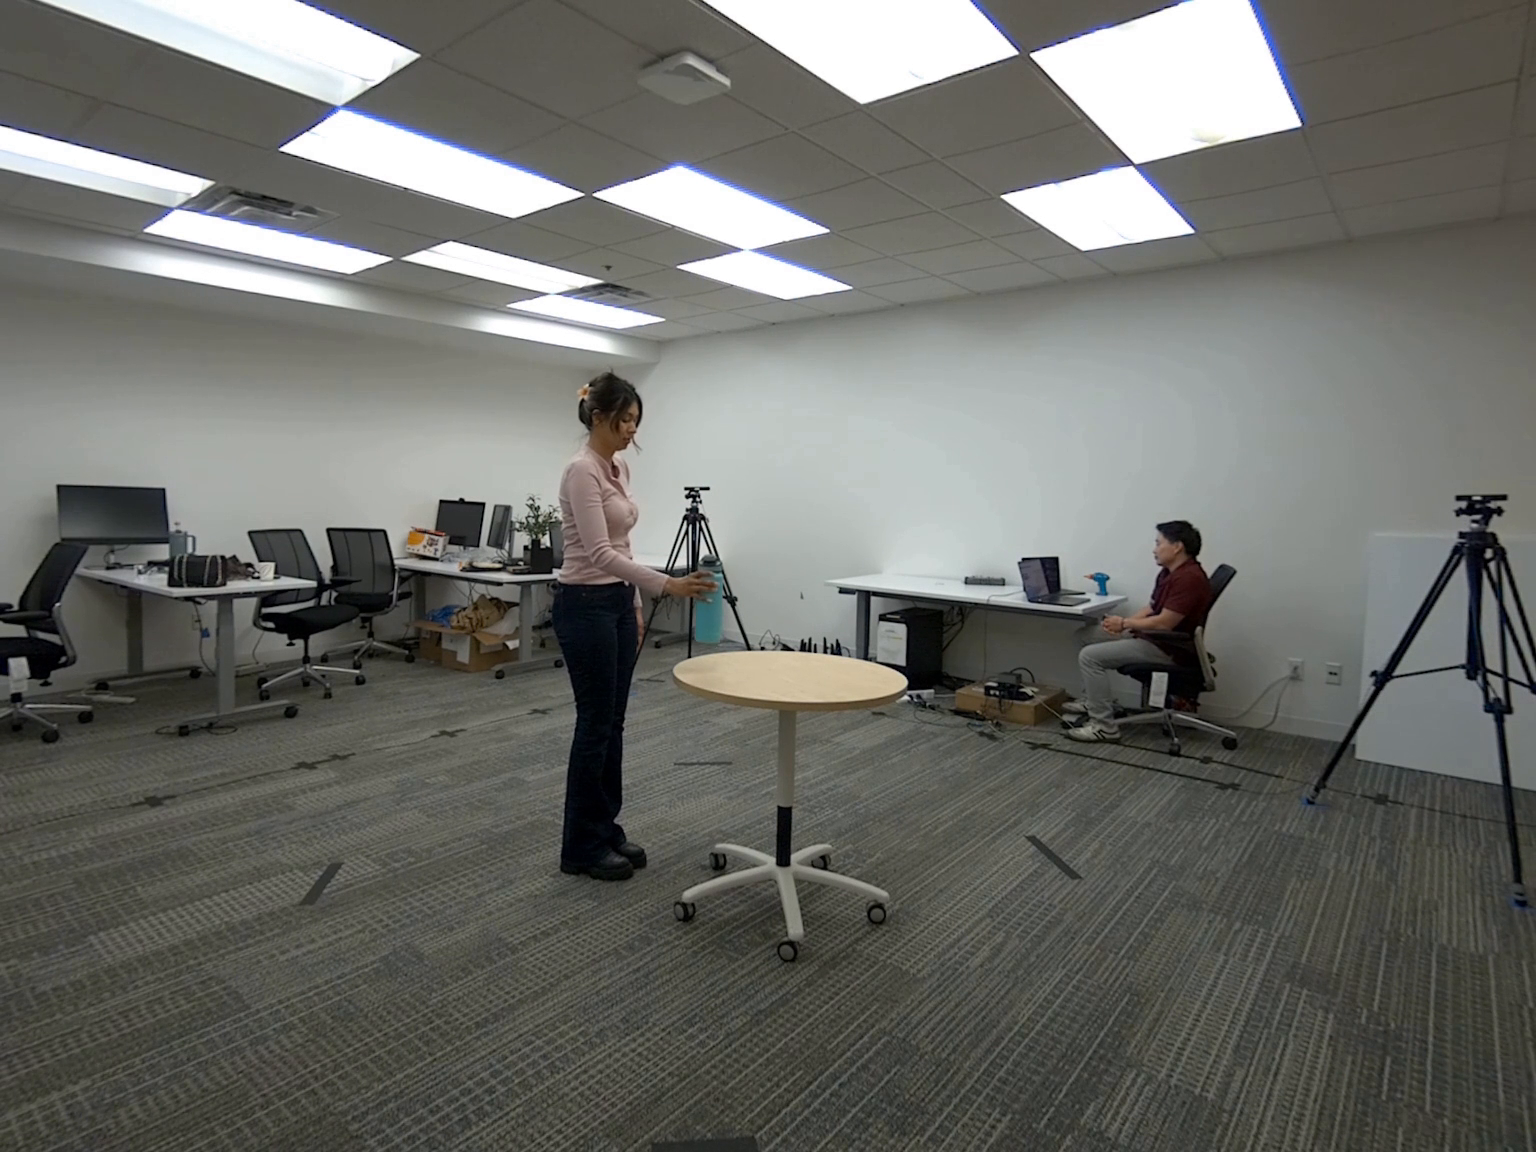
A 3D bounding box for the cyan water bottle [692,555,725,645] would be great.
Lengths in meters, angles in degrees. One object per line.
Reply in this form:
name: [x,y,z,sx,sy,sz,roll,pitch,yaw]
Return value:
cyan water bottle: [-0.203,0.071,2.778,0.092,0.283,0.092,1,2,-2]
